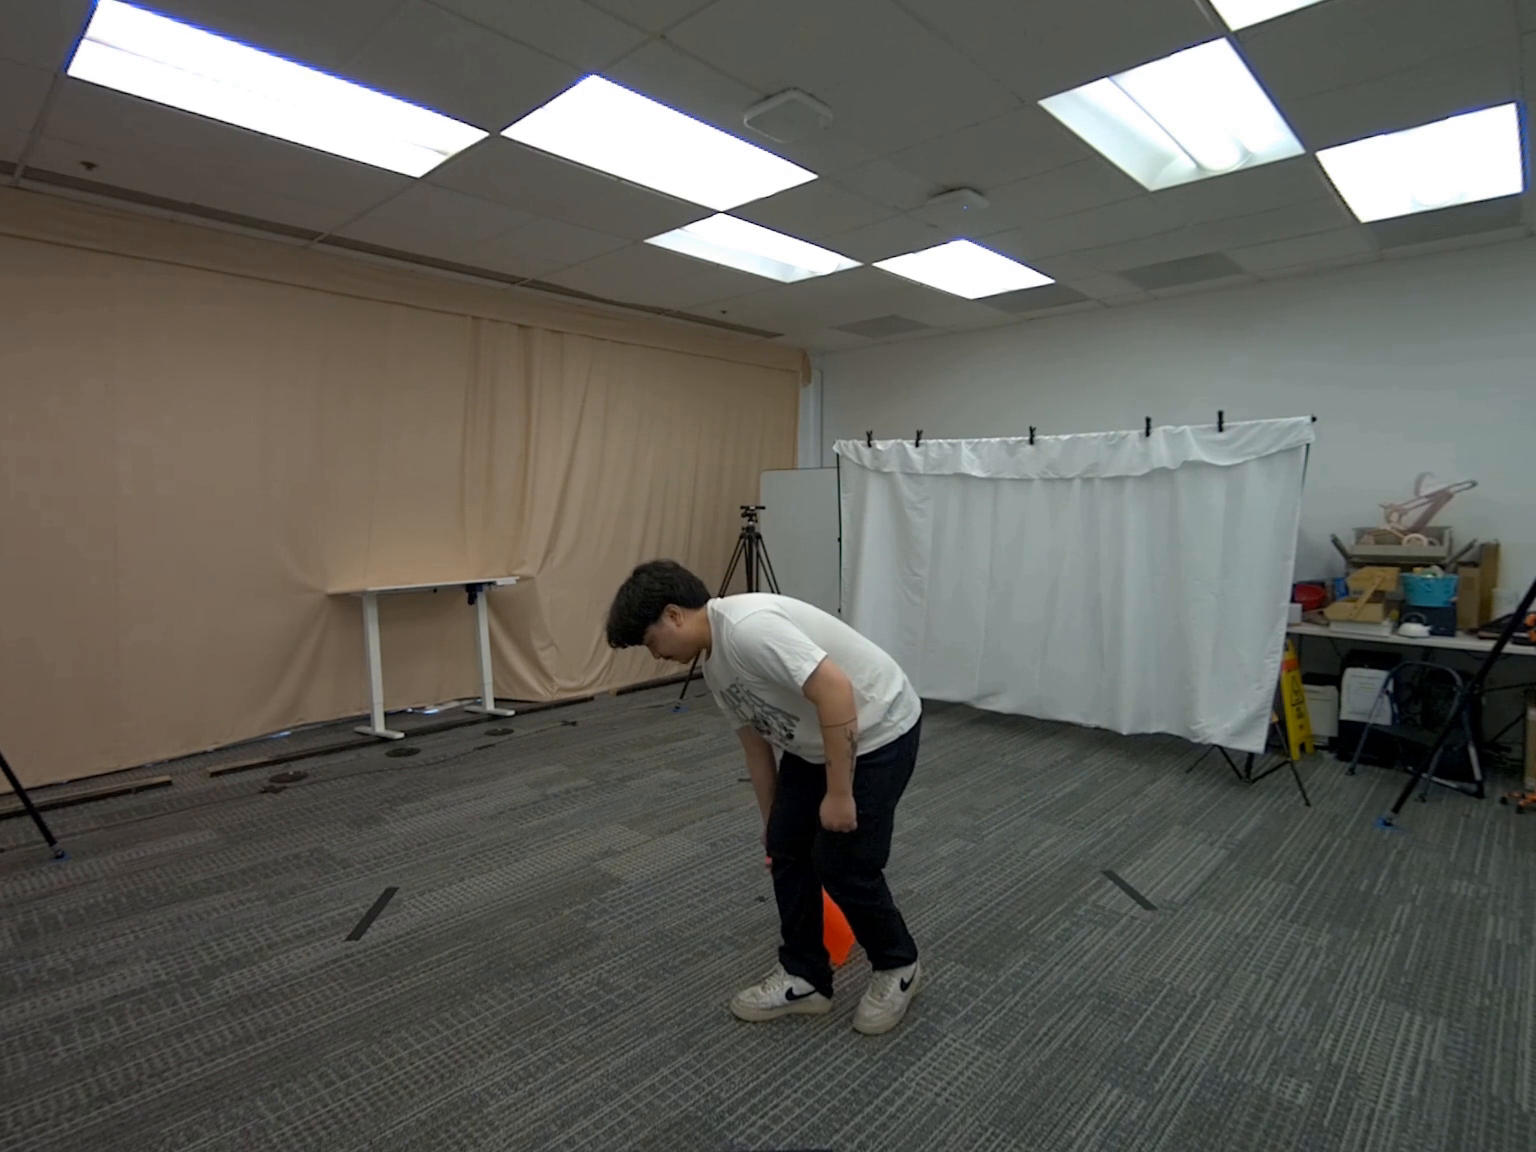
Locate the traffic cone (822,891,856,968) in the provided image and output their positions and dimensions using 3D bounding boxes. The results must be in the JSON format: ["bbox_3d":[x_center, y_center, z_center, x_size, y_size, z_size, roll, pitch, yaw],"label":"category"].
[{"bbox_3d":[0.105,0.978,2.572,0.210,0.374,0.203,-13,33,42],"label":"traffic cone"}]
